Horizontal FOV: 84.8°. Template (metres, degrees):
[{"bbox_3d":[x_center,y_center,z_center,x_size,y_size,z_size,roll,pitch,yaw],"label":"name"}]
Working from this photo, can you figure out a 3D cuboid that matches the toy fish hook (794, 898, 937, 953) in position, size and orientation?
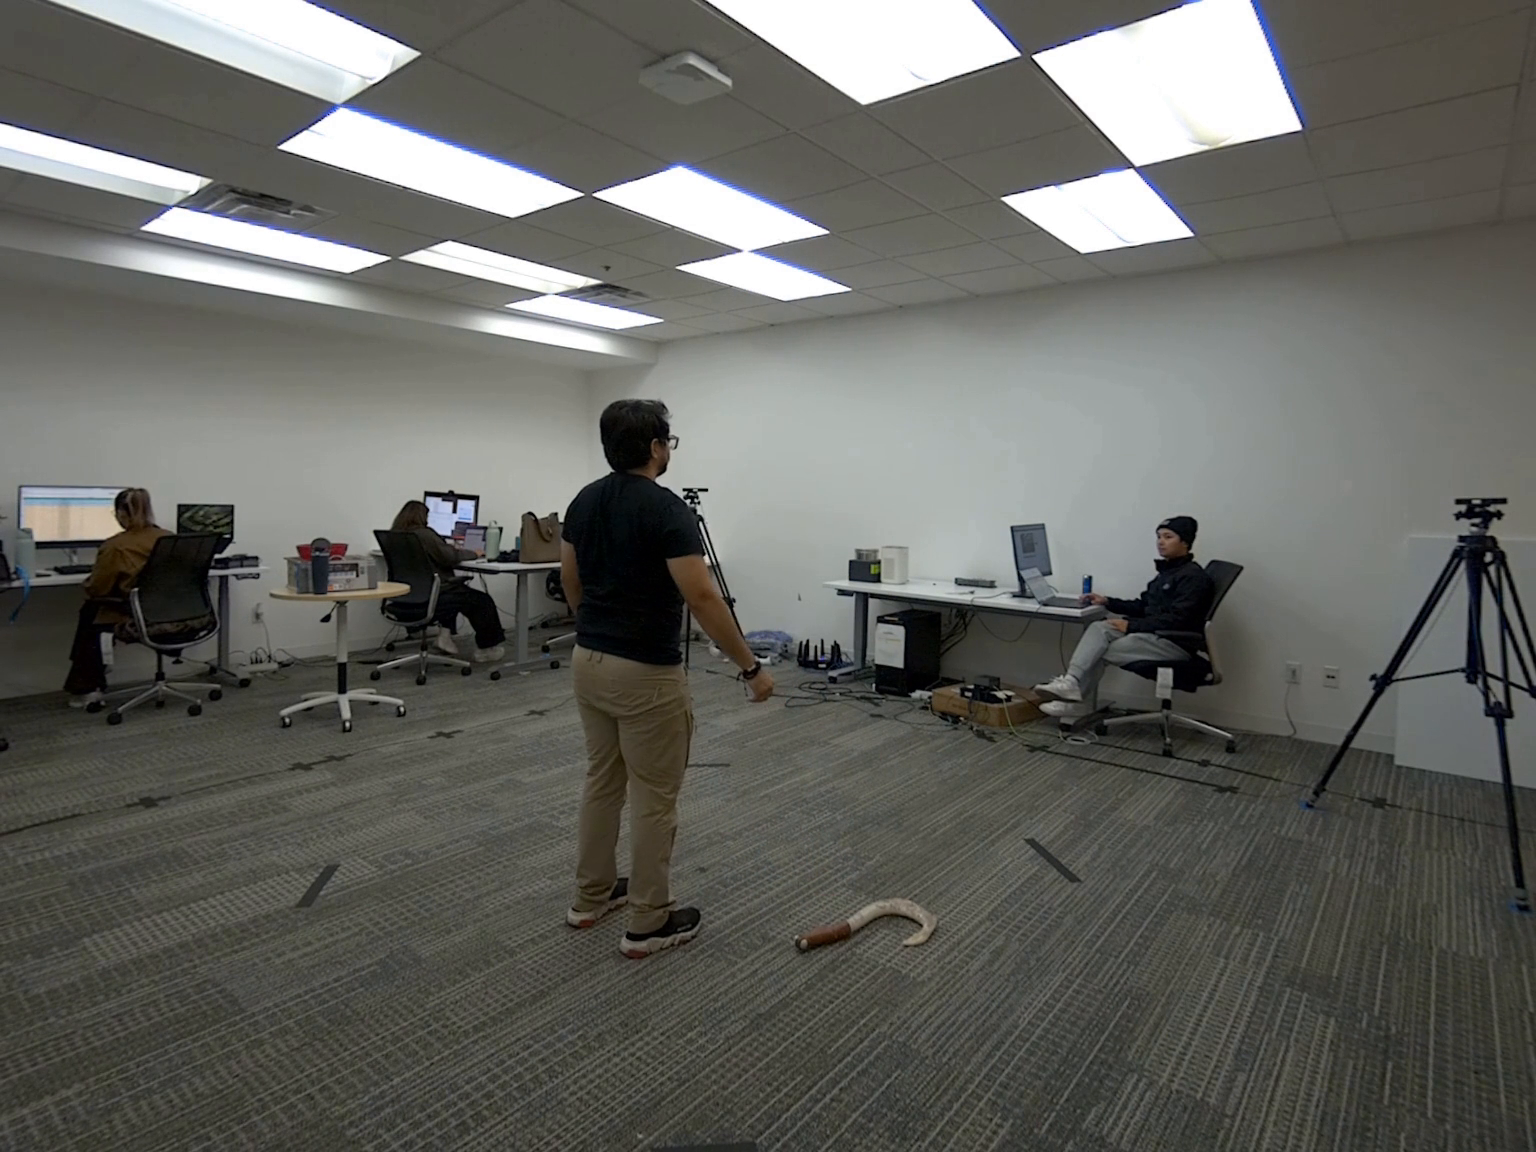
[{"bbox_3d":[0.315,1.111,2.654,0.492,0.048,0.232,-3,7,-34],"label":"toy fish hook"}]
